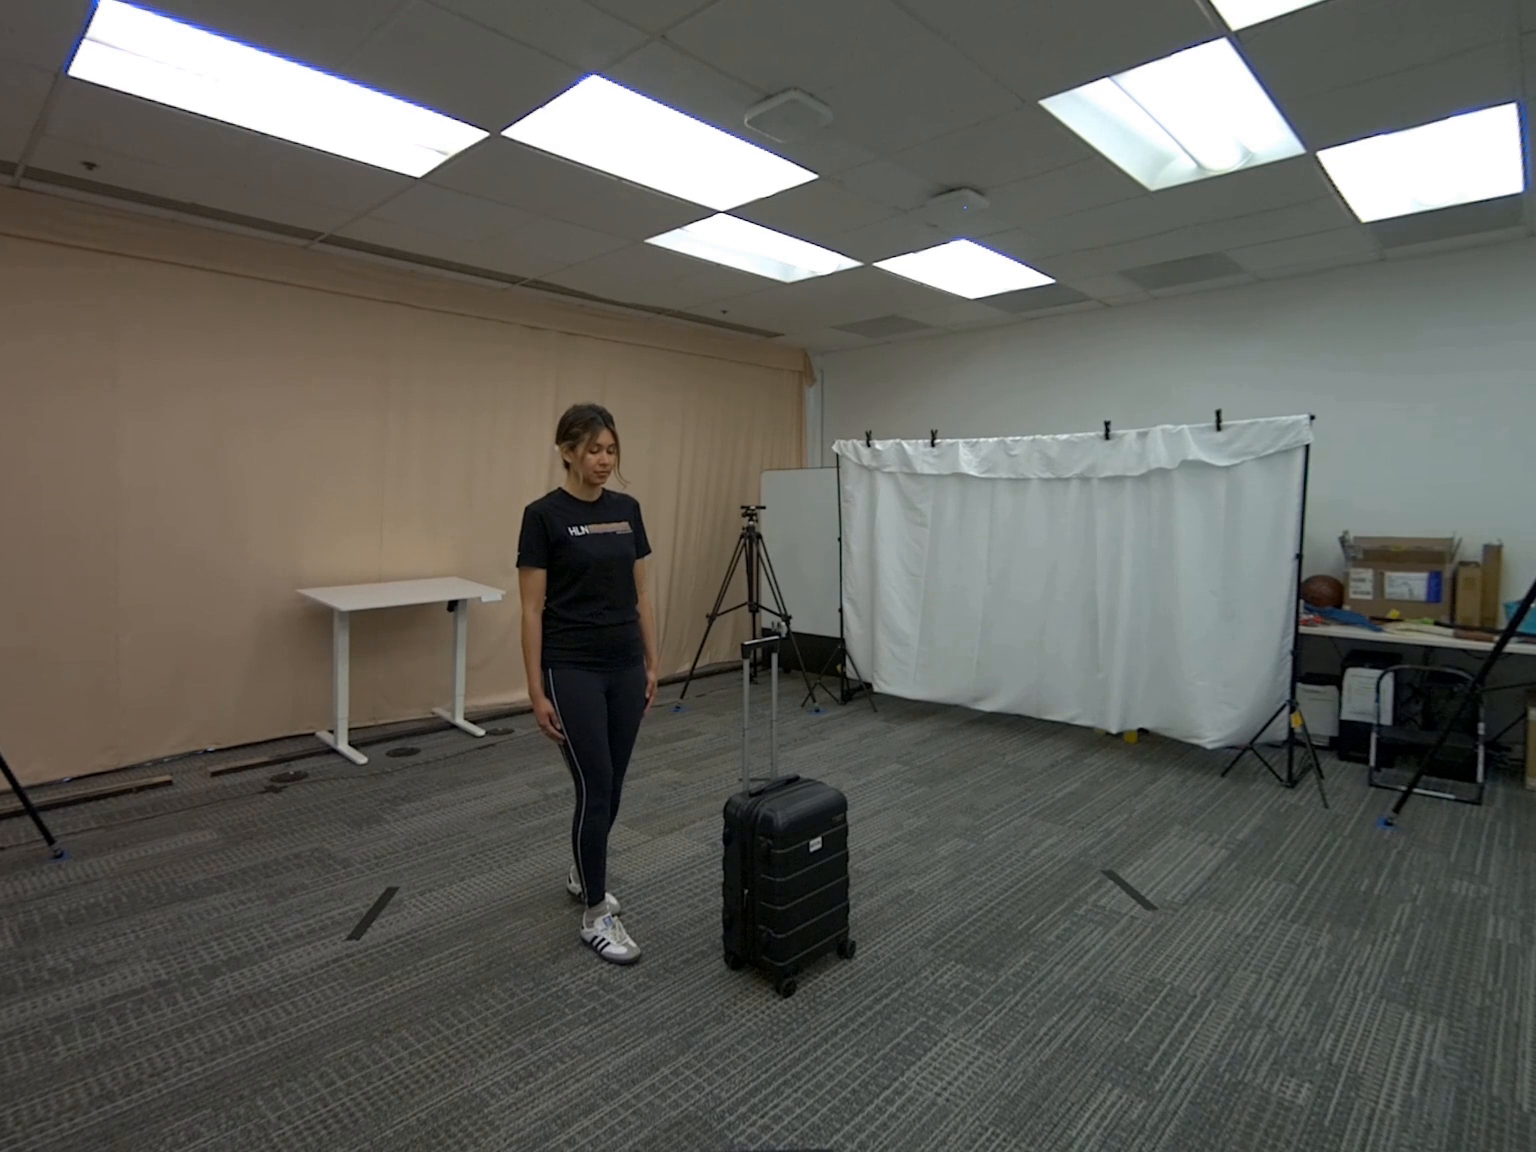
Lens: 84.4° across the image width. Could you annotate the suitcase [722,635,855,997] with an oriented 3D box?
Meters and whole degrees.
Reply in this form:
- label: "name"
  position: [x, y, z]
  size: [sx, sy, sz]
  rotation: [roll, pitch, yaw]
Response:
- label: "suitcase"
  position: [0.067, 0.708, 2.520]
  size: [0.372, 0.975, 0.266]
  rotation: [-5, 8, -42]
